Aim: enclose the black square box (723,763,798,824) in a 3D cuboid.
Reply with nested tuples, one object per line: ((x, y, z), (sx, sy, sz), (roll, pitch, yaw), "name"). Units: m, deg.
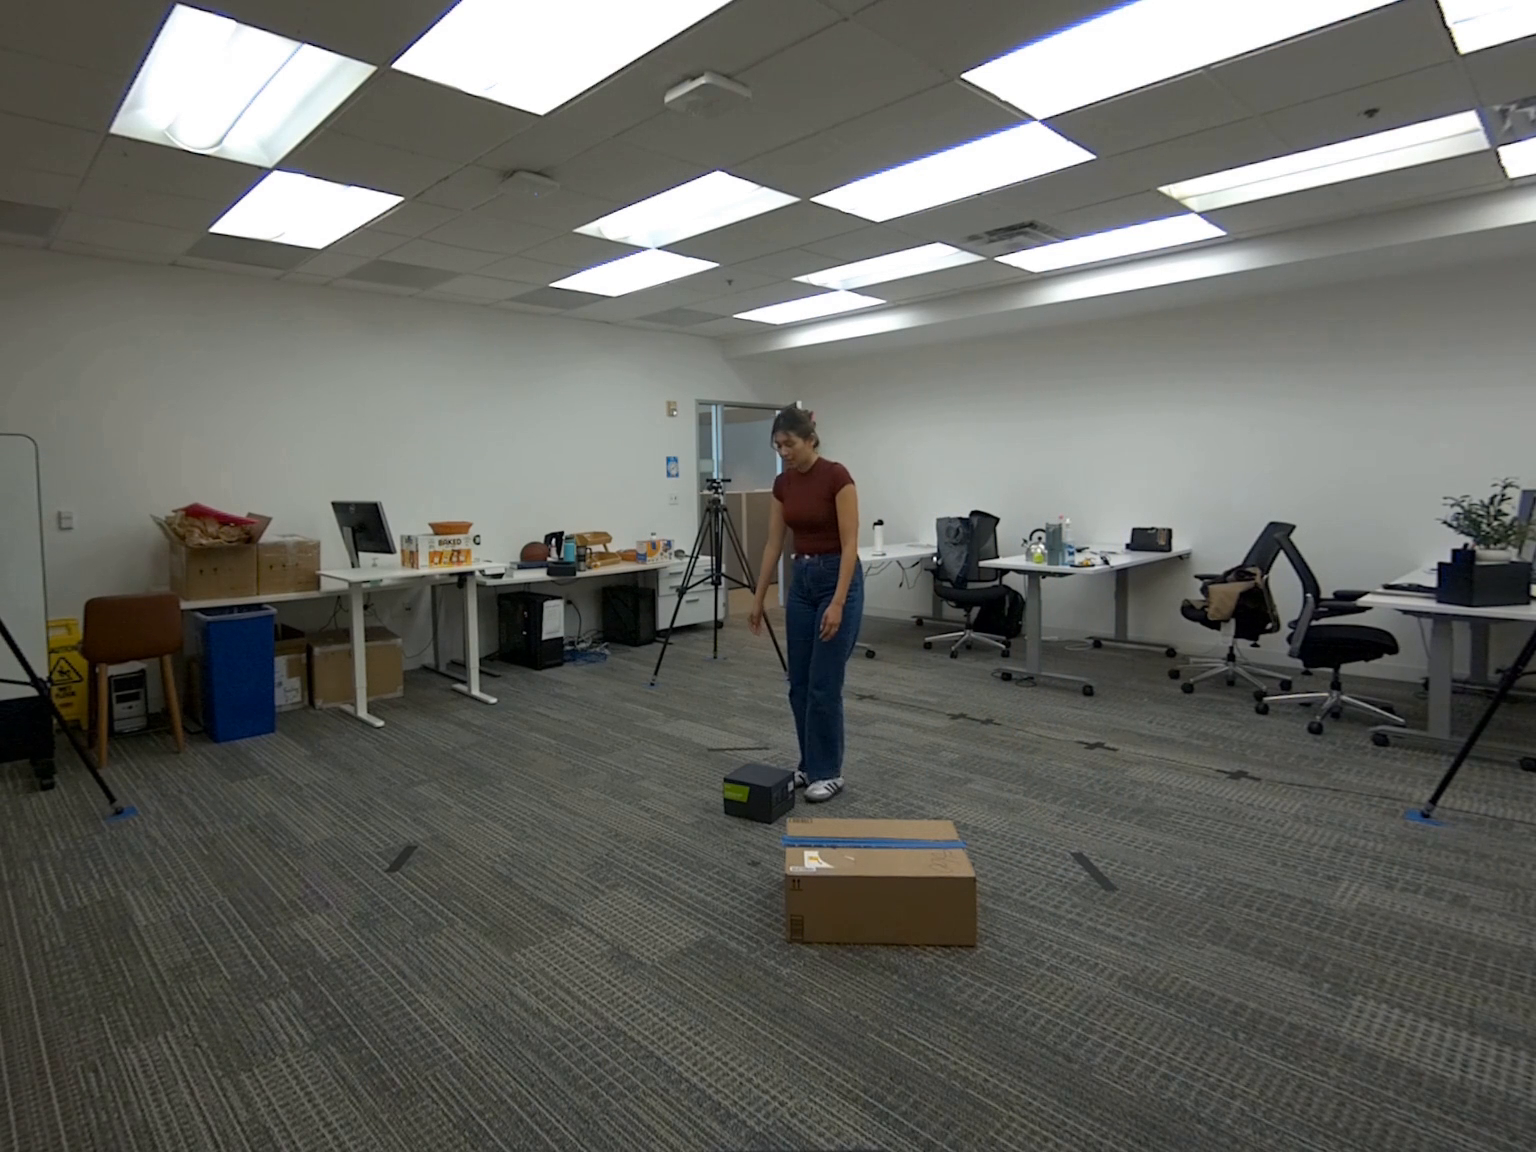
((-0.037, 0.904, 3.590), (0.234, 0.155, 0.212), (3, 6, 30), "black square box")
